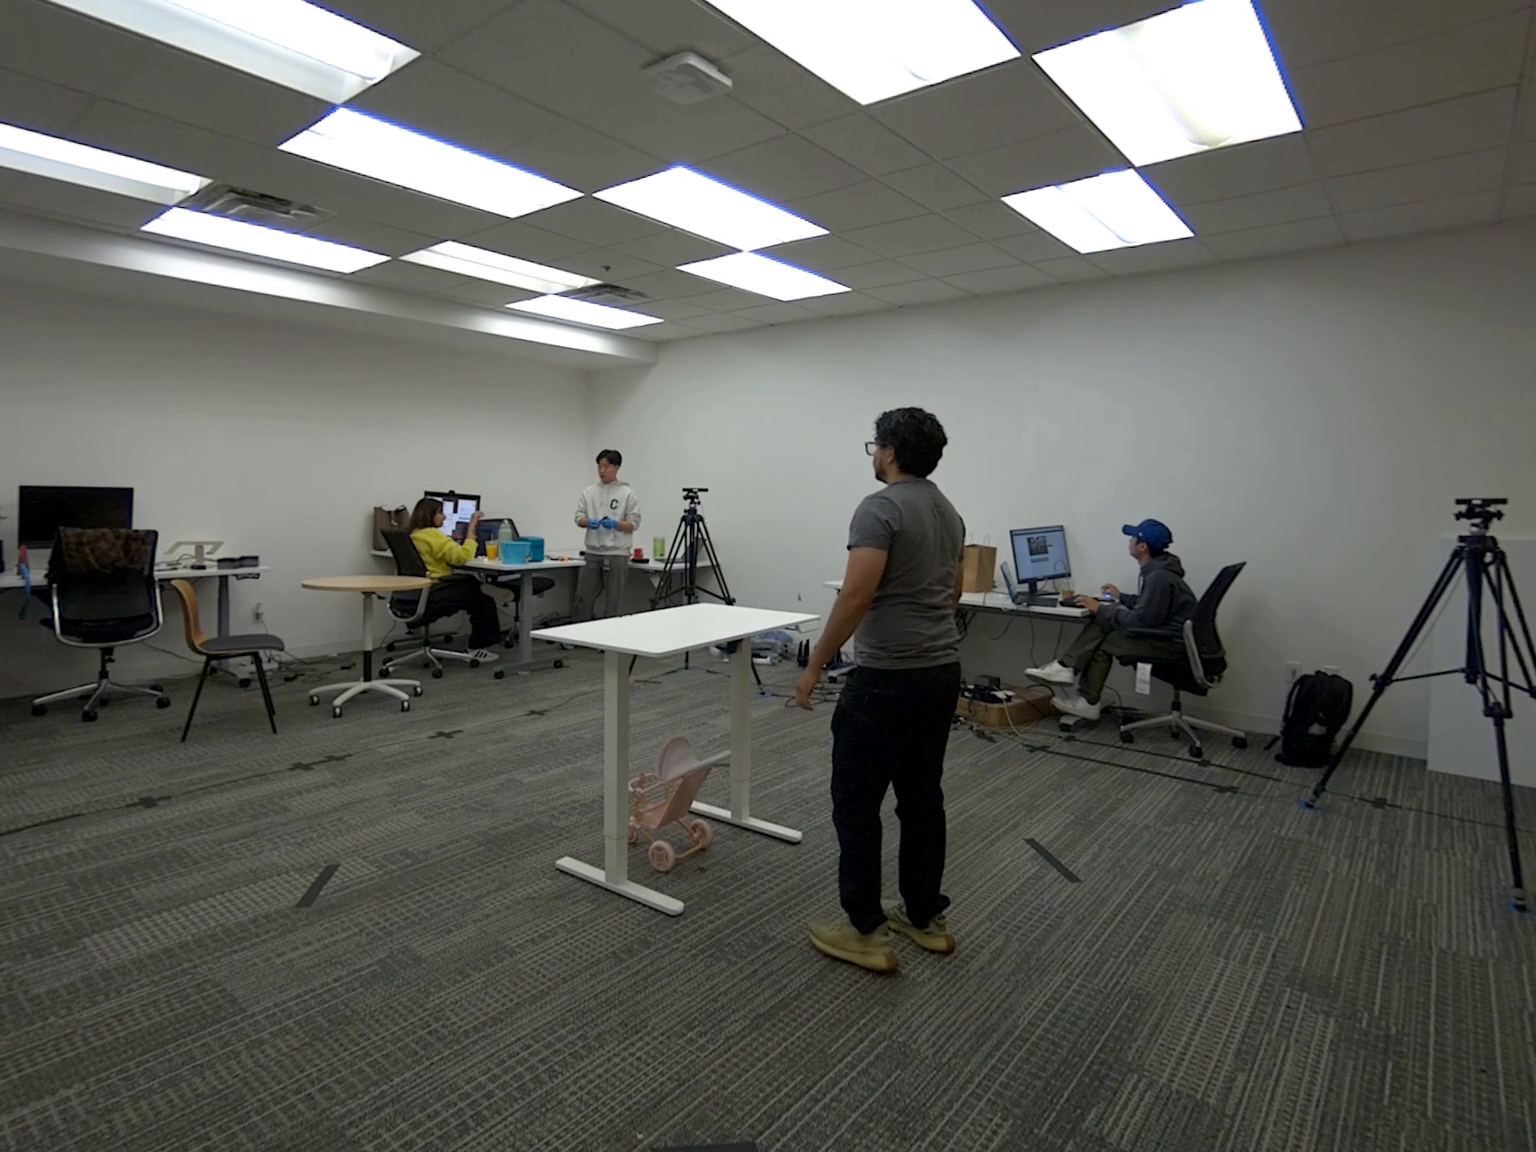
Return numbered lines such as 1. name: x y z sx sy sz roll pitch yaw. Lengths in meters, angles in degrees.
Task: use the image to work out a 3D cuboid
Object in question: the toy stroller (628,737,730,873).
1. toy stroller: -0.384 0.835 3.221 0.355 0.530 0.273 24 16 34
